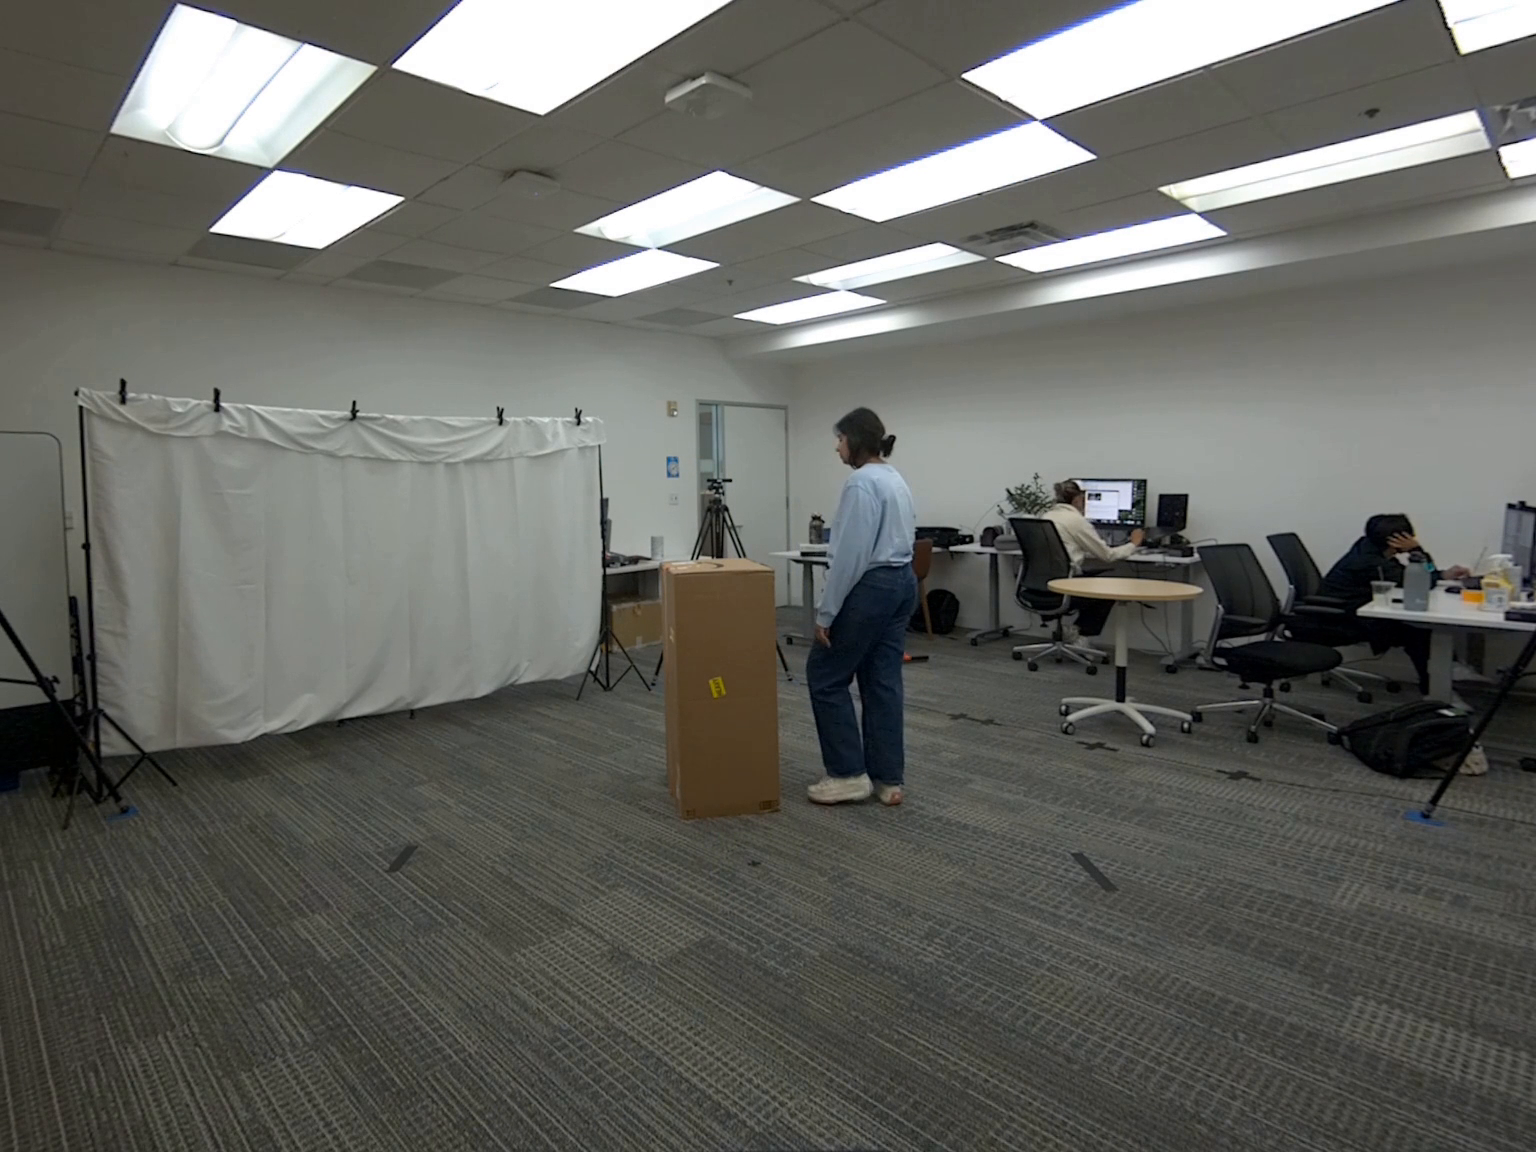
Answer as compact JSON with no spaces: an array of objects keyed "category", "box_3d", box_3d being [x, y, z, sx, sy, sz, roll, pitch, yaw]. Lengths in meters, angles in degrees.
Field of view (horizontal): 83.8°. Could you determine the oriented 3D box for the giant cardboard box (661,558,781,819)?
[{"category":"giant cardboard box","box_3d":[-0.233,0.460,3.809,0.421,1.023,0.586,-2,3,-13]}]
